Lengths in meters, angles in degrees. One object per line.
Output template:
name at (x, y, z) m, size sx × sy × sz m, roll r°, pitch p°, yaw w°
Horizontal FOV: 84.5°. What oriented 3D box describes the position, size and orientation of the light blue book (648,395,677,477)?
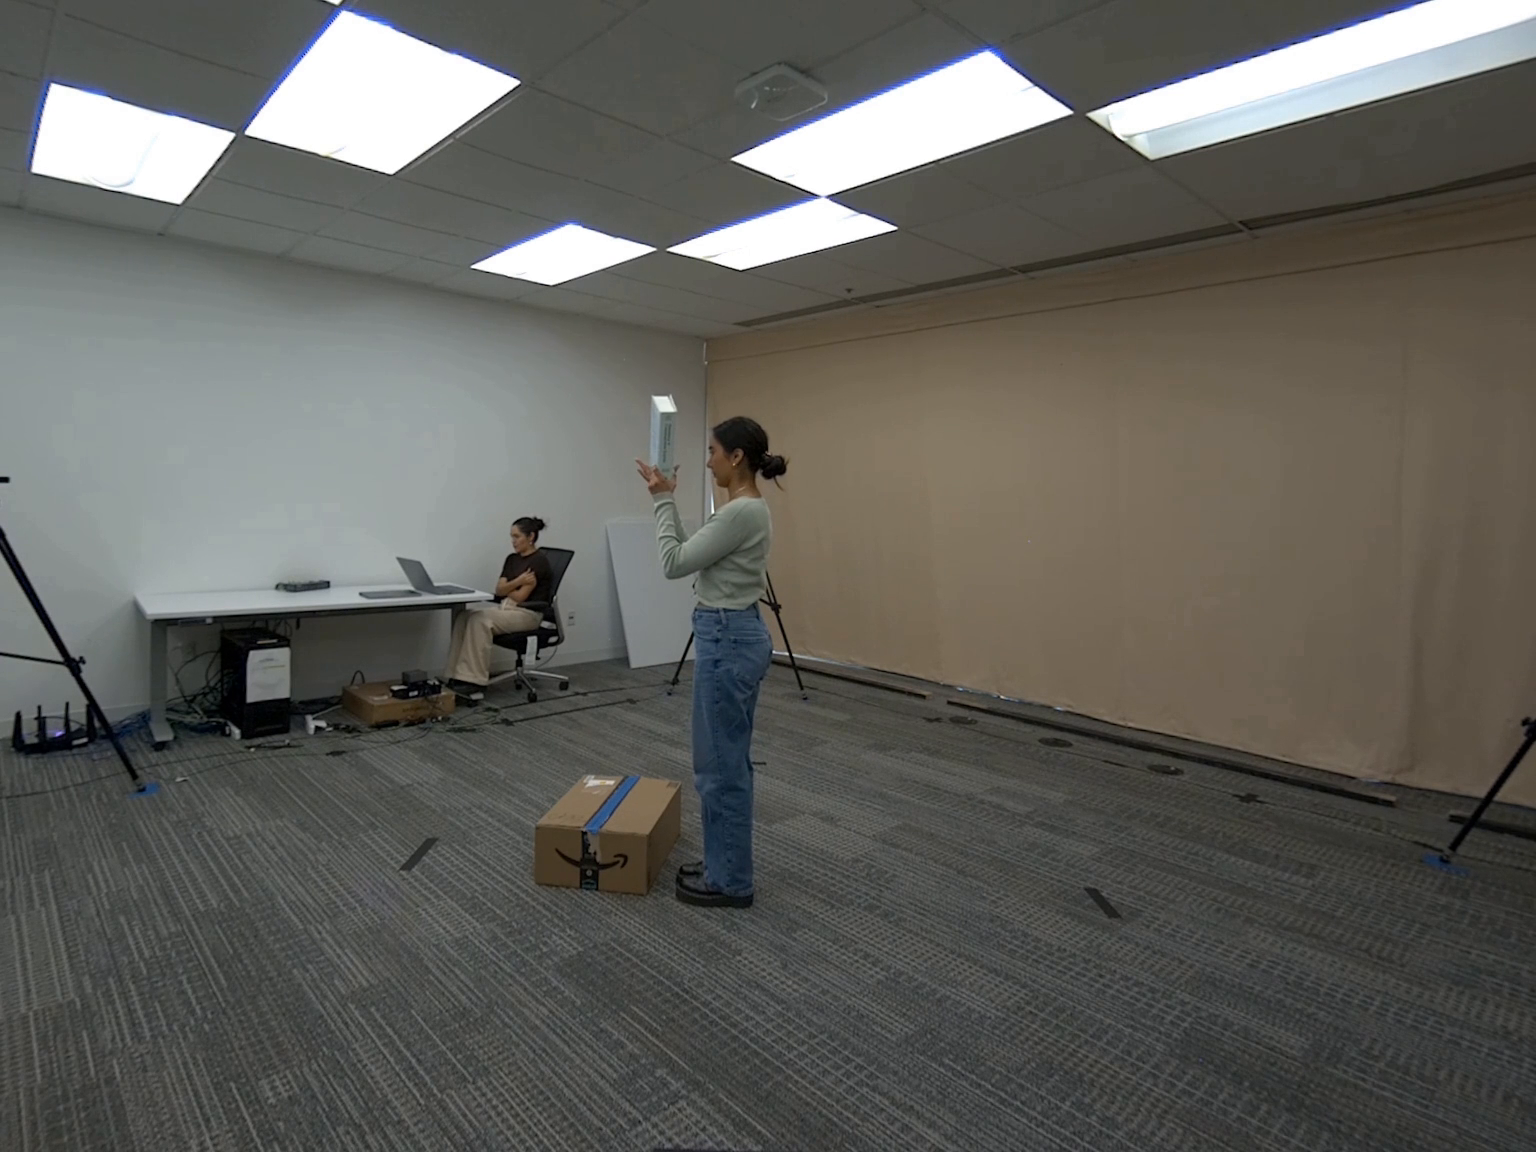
light blue book at (-0.364, -0.464, 2.873) m, size 0.058 × 0.257 × 0.196 m, roll -1°, pitch 28°, yaw -14°
